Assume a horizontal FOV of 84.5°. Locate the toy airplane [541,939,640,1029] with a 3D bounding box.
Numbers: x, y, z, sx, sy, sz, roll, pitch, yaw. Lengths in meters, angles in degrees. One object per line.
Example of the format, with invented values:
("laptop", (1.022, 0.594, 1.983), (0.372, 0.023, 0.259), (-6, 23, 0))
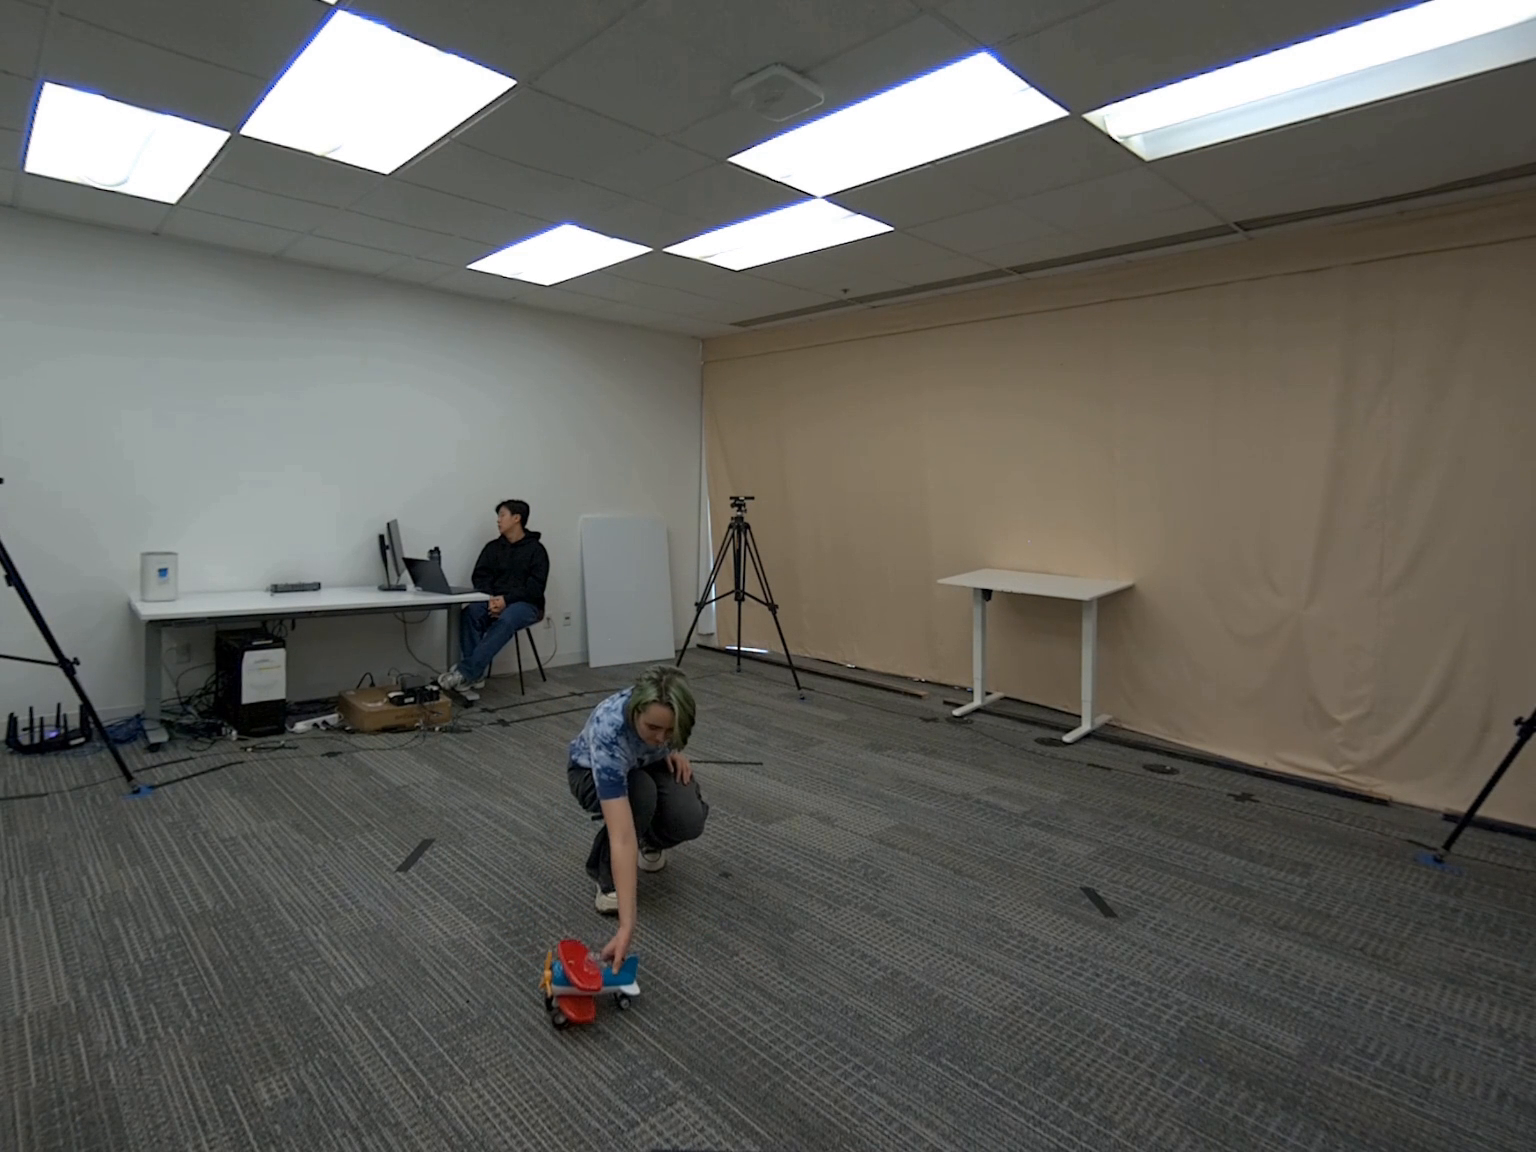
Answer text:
("toy airplane", (-0.501, 1.103, 2.271), (0.257, 0.156, 0.254), (3, 6, 37))
